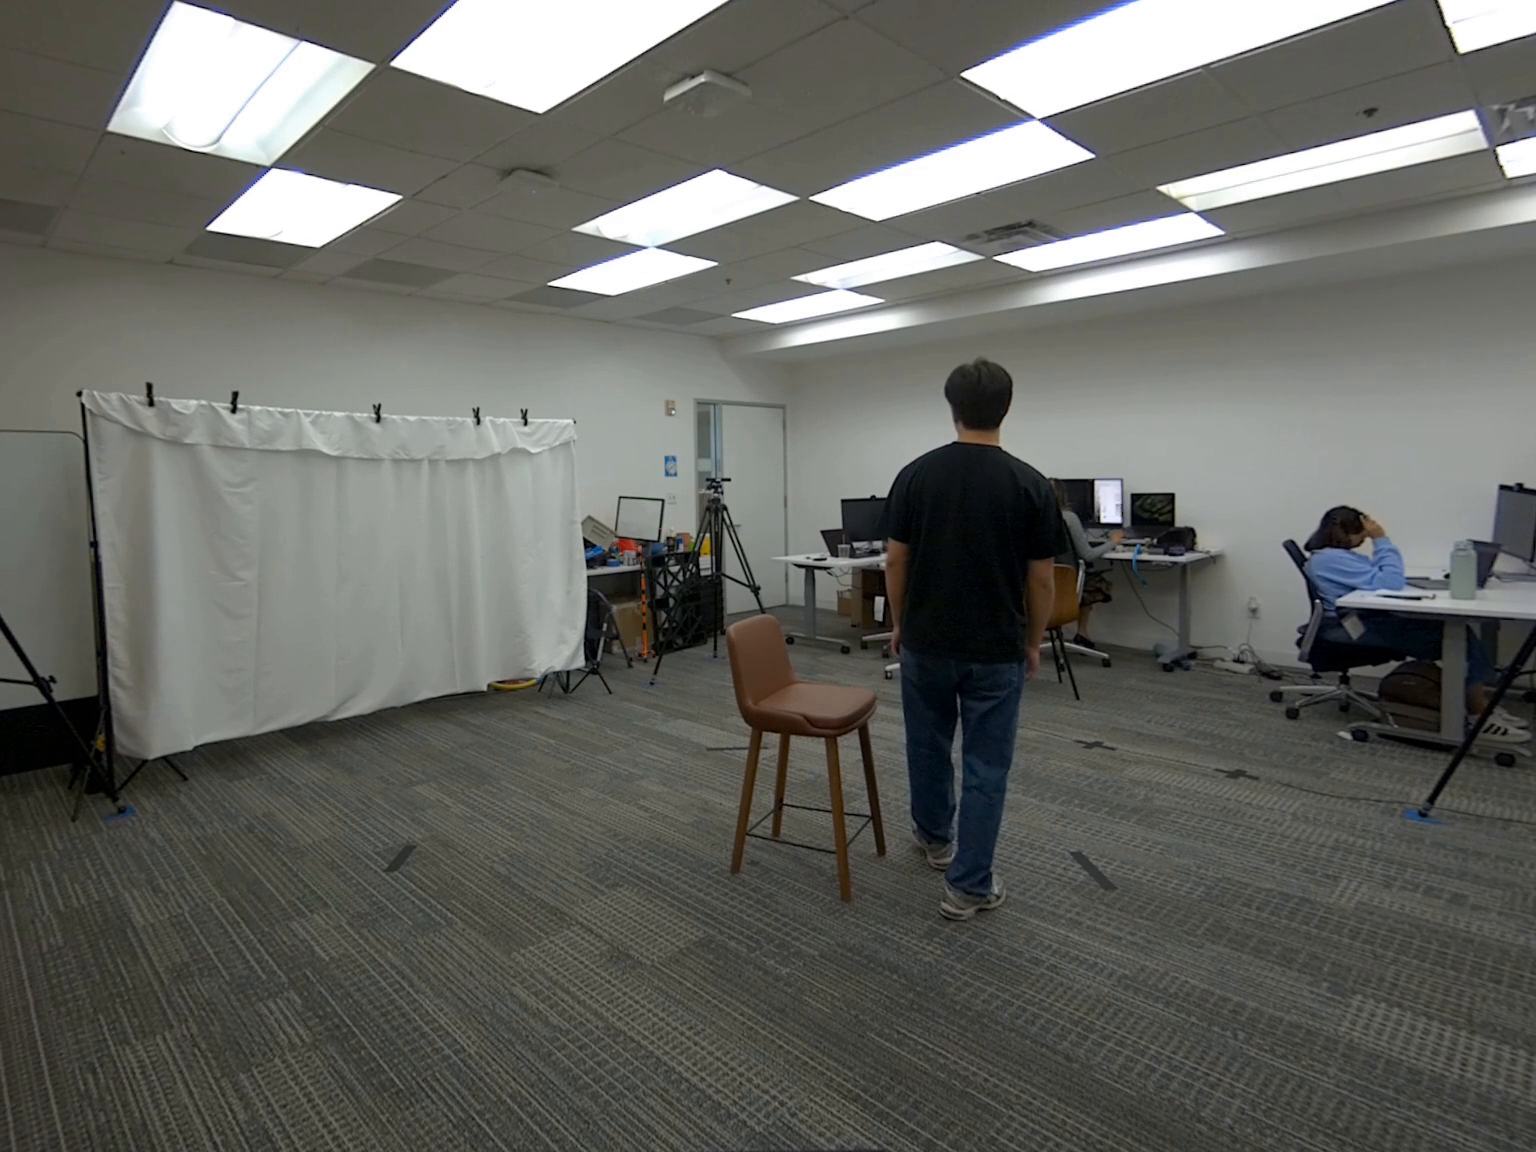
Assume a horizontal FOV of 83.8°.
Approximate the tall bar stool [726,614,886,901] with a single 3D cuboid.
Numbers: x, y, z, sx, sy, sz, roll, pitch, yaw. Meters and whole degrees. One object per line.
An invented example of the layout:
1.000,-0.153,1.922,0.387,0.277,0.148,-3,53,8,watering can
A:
0.146,0.603,3.069,0.479,0.888,0.446,-1,3,28,tall bar stool
